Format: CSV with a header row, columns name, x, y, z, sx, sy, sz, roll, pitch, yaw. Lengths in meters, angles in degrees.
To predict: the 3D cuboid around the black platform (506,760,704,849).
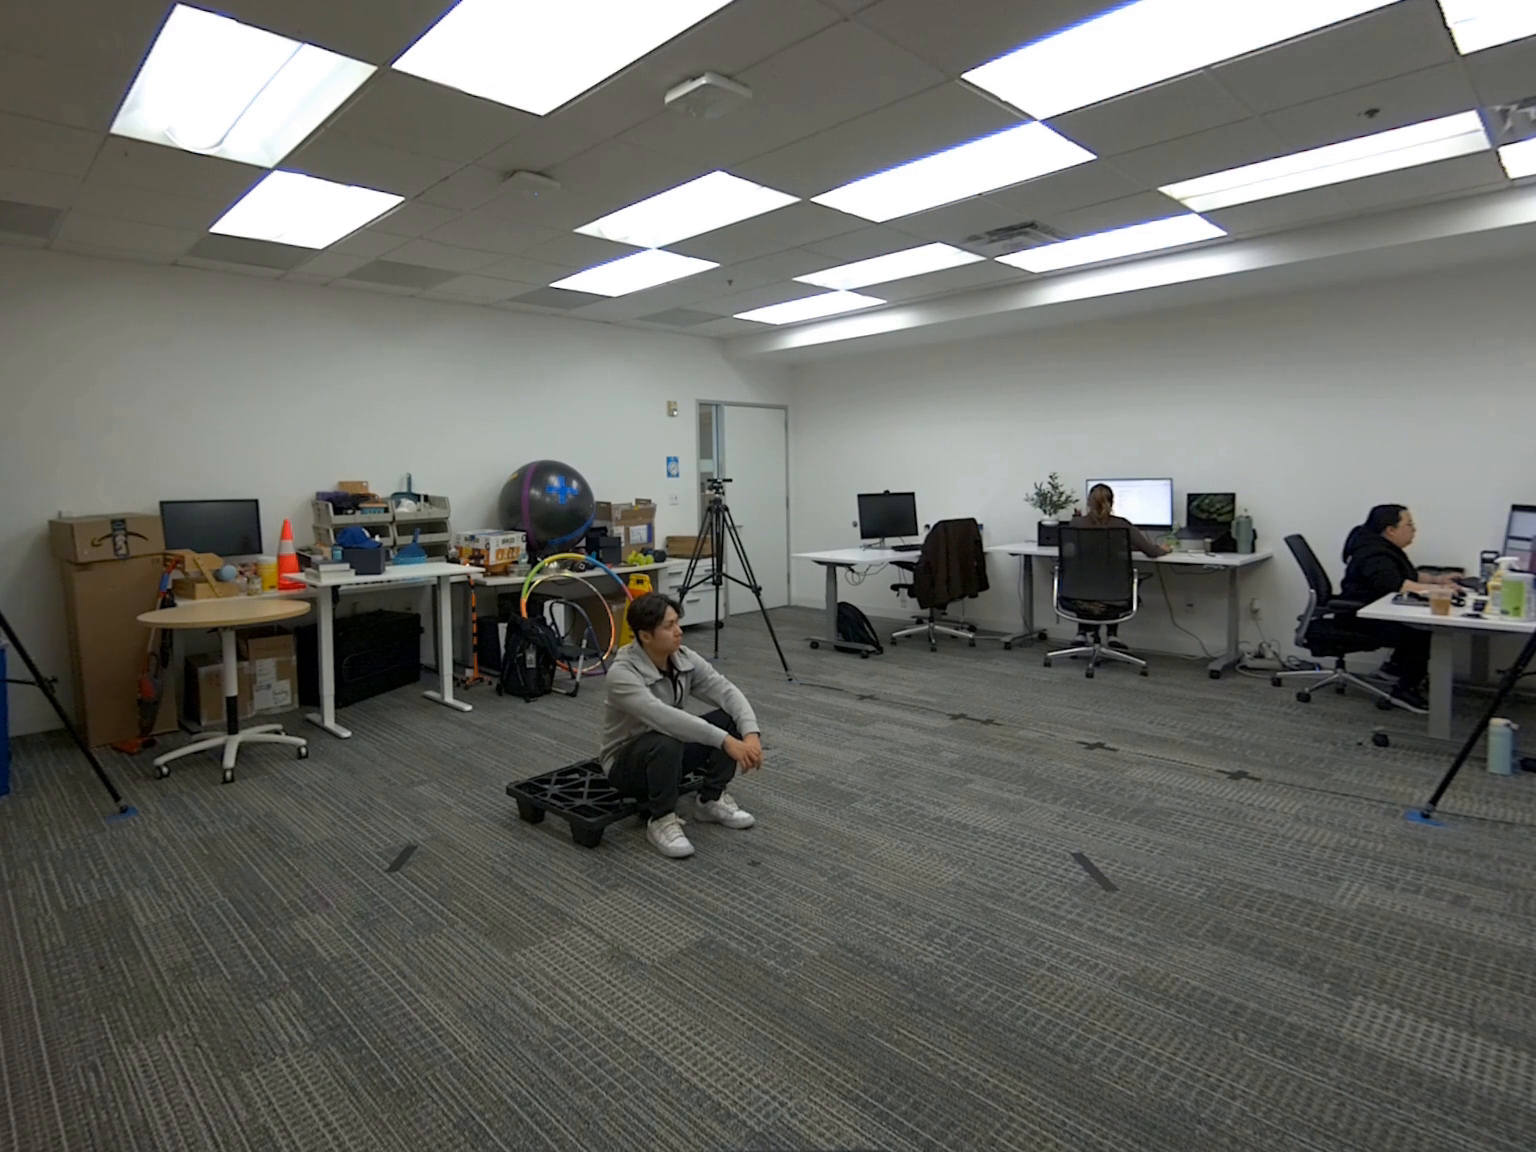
name,x,y,z,sx,sy,sz,roll,pitch,yaw
black platform,-0.616,0.926,3.671,0.624,0.142,0.785,5,9,41
